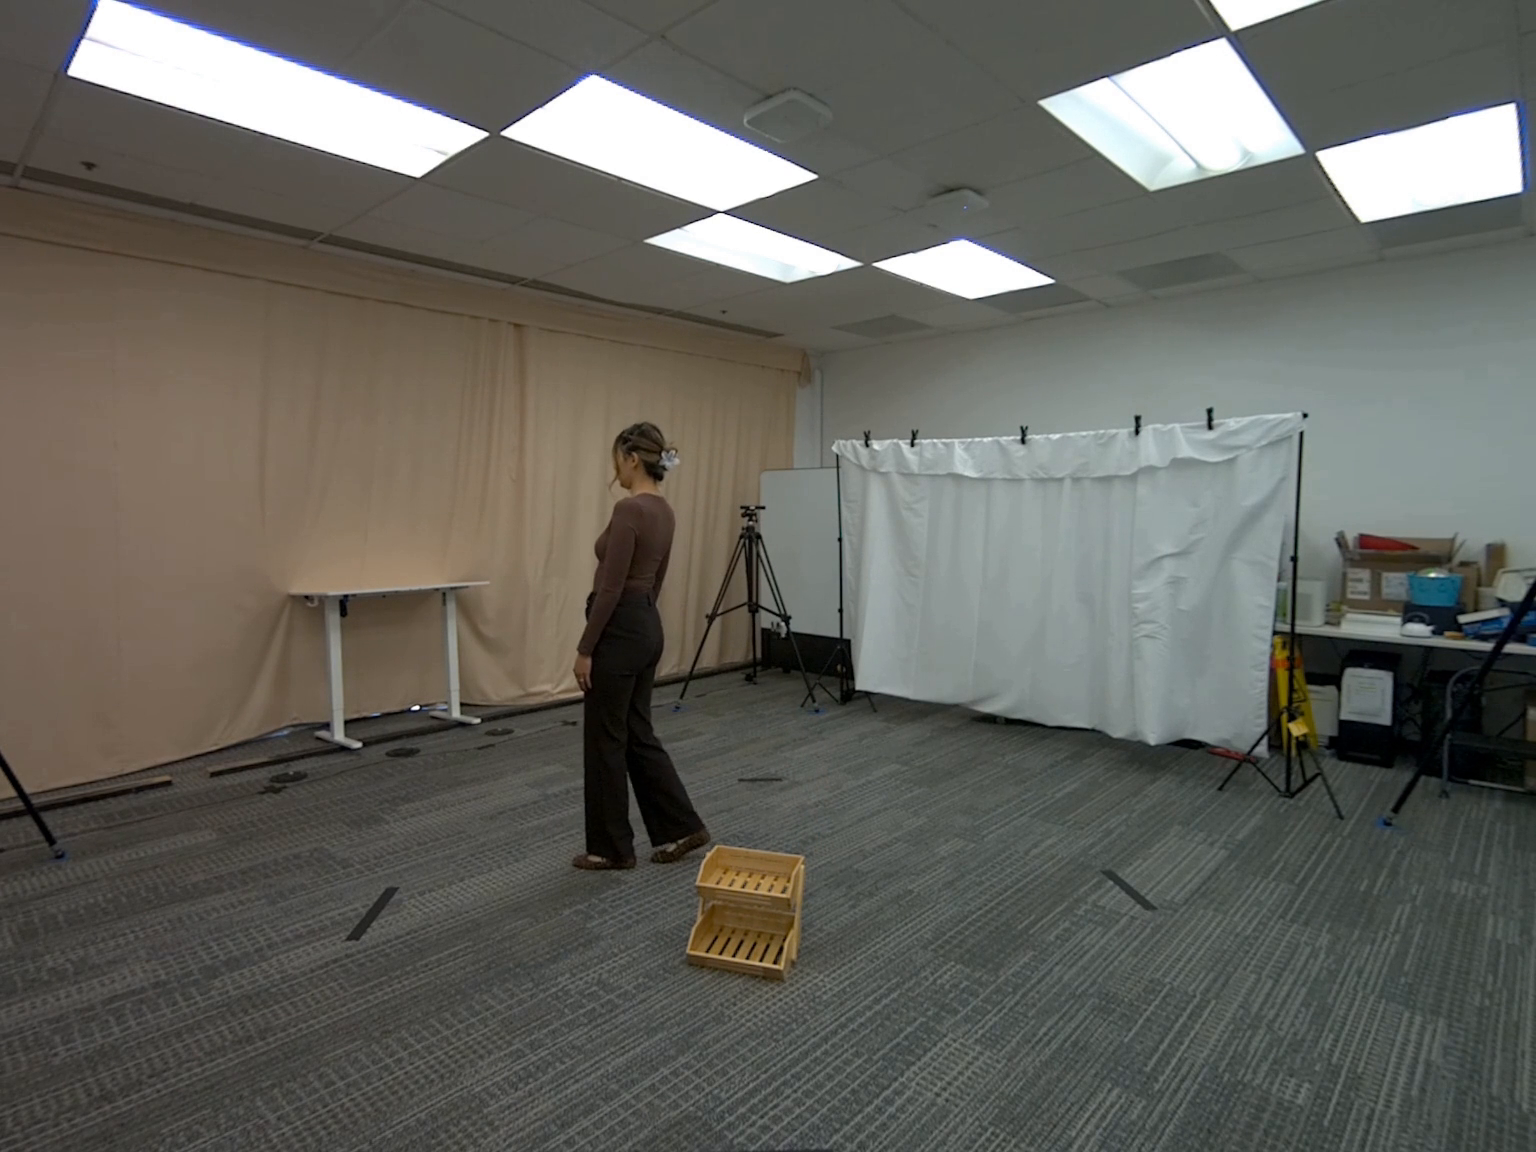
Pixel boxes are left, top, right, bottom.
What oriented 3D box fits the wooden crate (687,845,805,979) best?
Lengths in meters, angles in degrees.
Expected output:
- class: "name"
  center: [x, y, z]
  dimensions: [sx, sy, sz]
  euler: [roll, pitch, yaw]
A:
- class: "wooden crate"
  center: [-0.061, 1.041, 2.623]
  dimensions: [0.330, 0.273, 0.297]
  euler: [1, 3, 16]
